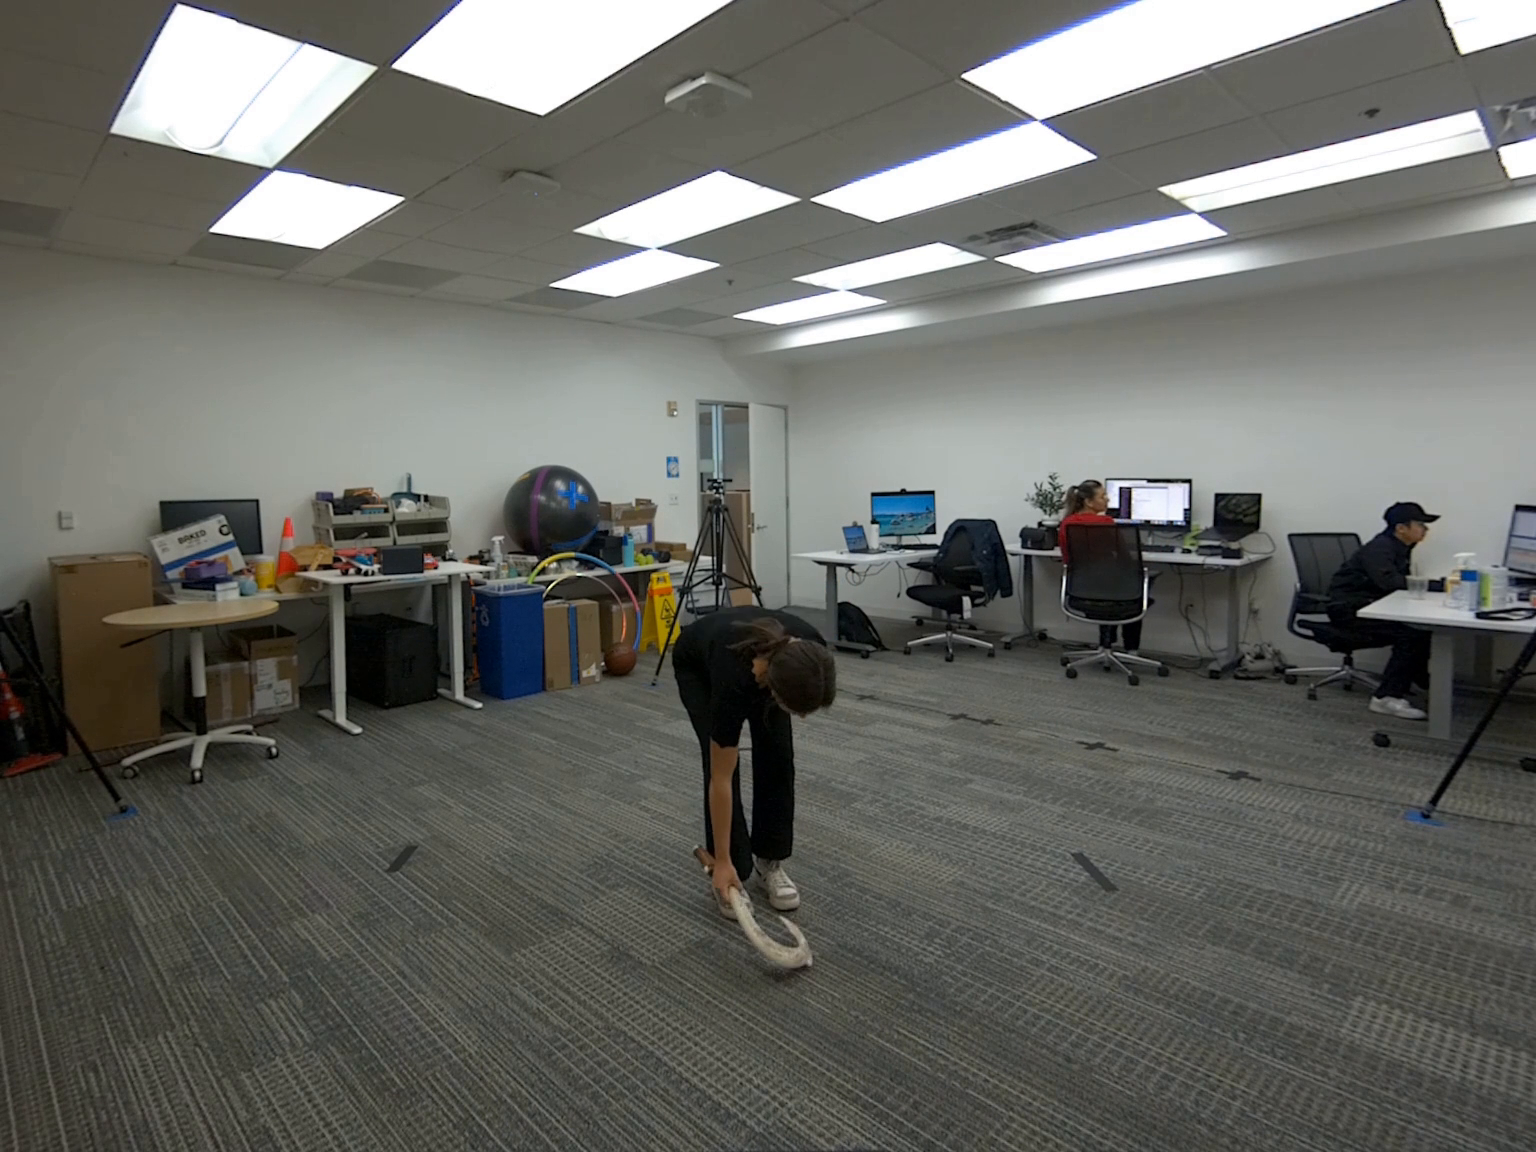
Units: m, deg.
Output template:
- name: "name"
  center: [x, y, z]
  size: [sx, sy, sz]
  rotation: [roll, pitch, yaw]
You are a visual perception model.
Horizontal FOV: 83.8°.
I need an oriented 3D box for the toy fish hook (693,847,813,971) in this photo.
- name: "toy fish hook"
  center: [-0.041, 0.999, 2.577]
  size: [0.216, 0.048, 0.527]
  rotation: [24, 8, -42]
